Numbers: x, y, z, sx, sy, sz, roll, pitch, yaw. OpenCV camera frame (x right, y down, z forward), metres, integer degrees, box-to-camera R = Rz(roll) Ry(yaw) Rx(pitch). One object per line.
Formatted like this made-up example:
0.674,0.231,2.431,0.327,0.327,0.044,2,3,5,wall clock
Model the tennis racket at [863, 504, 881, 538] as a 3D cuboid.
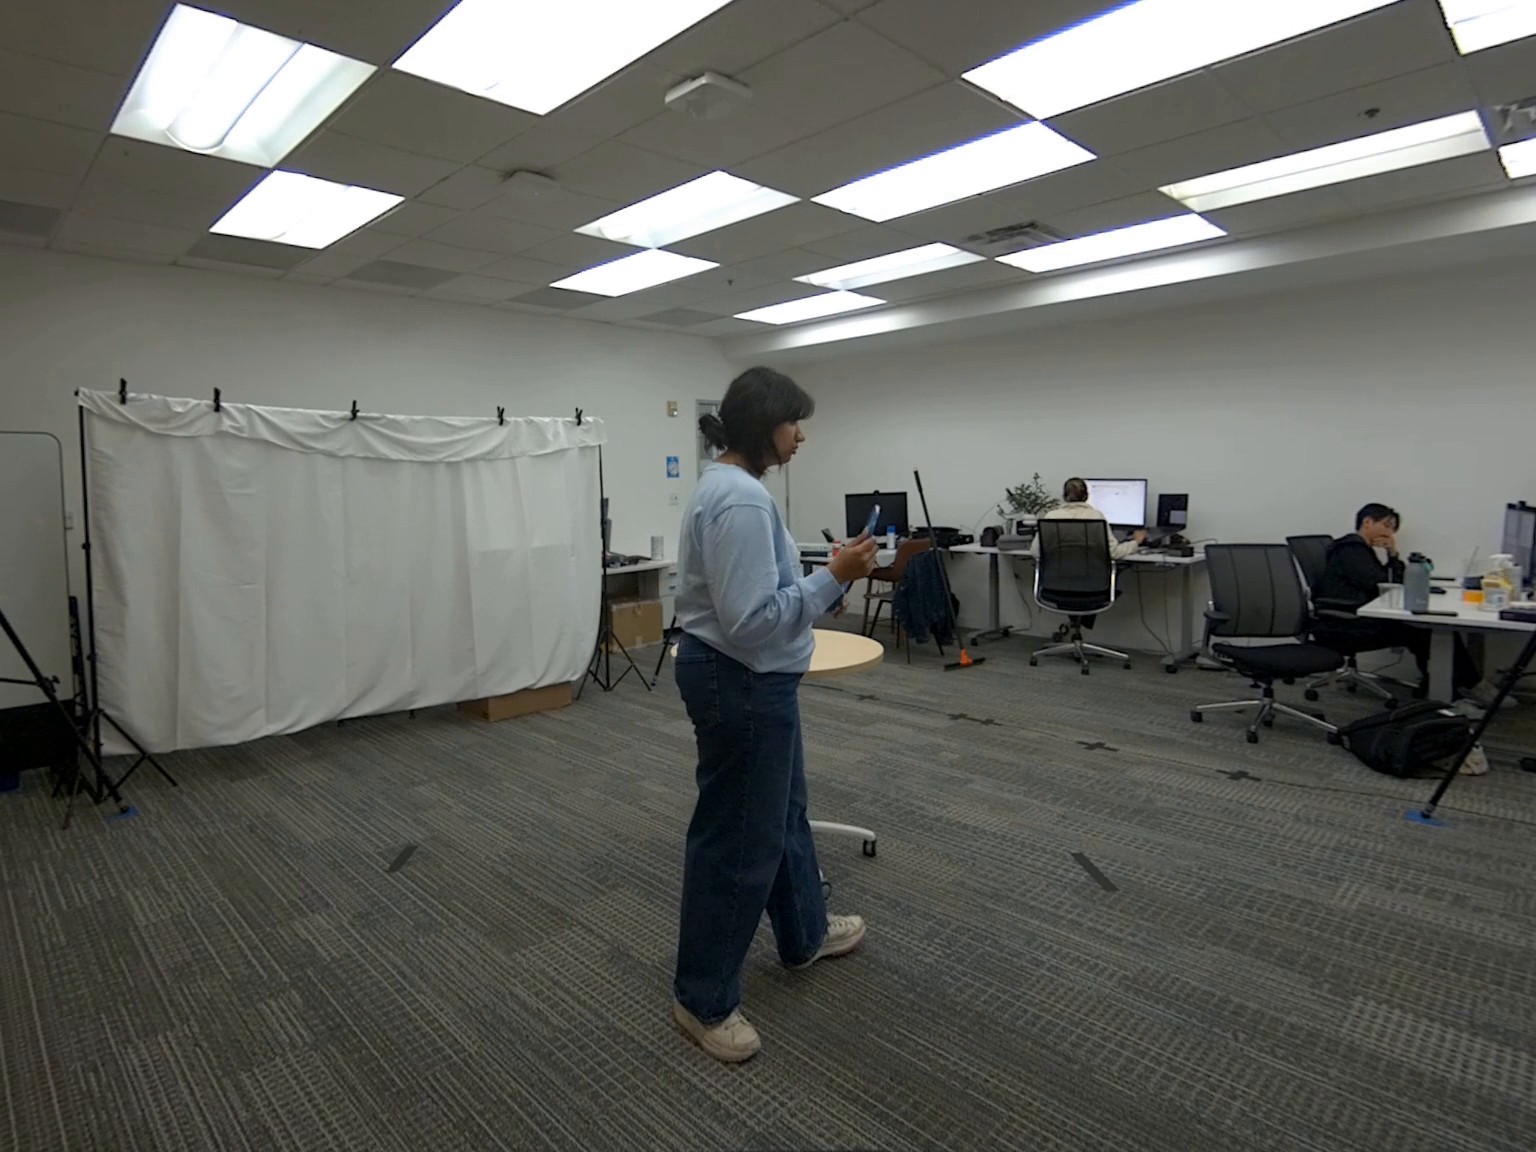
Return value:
0.202,-0.019,2.165,0.032,0.216,0.423,19,-32,7,tennis racket
